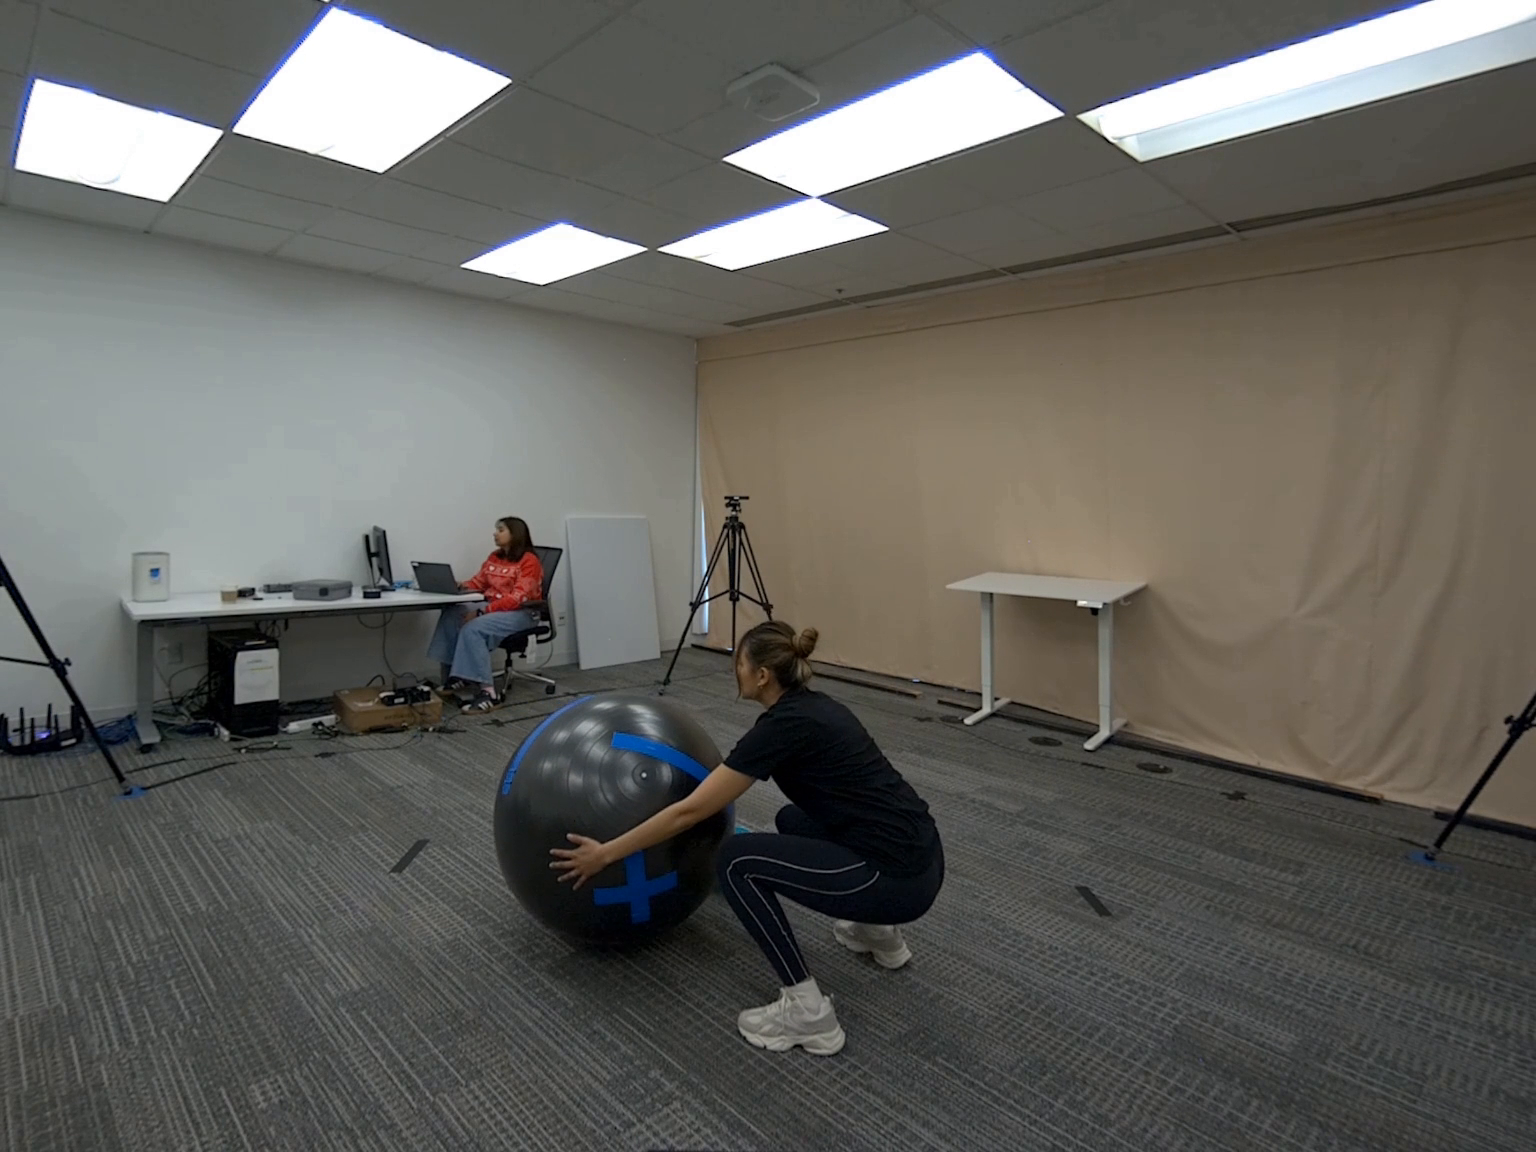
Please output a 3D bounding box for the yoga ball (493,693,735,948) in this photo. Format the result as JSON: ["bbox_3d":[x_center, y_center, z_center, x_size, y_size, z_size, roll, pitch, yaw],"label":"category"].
[{"bbox_3d":[-0.488,0.754,2.671,0.757,0.756,0.761,1,4,-1],"label":"yoga ball"}]
